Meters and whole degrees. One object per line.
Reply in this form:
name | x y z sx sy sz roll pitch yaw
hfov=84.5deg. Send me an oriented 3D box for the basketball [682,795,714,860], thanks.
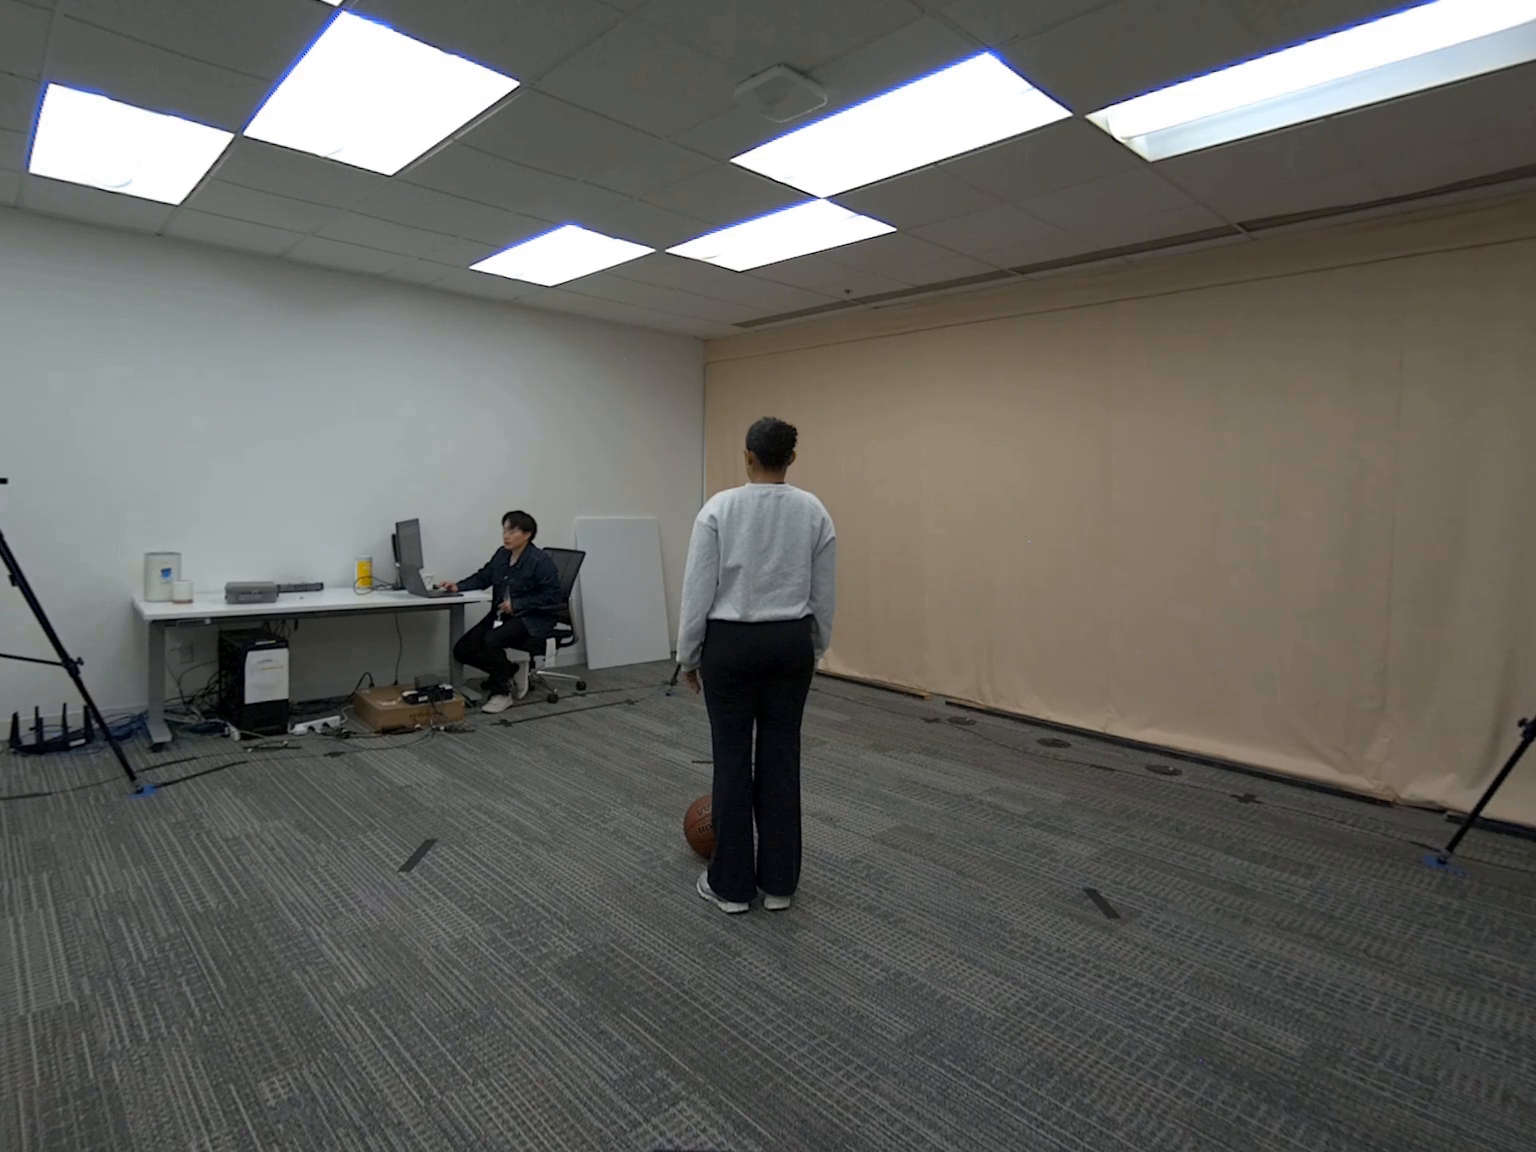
basketball | -0.215 0.968 3.267 0.236 0.235 0.237 1 4 -1
